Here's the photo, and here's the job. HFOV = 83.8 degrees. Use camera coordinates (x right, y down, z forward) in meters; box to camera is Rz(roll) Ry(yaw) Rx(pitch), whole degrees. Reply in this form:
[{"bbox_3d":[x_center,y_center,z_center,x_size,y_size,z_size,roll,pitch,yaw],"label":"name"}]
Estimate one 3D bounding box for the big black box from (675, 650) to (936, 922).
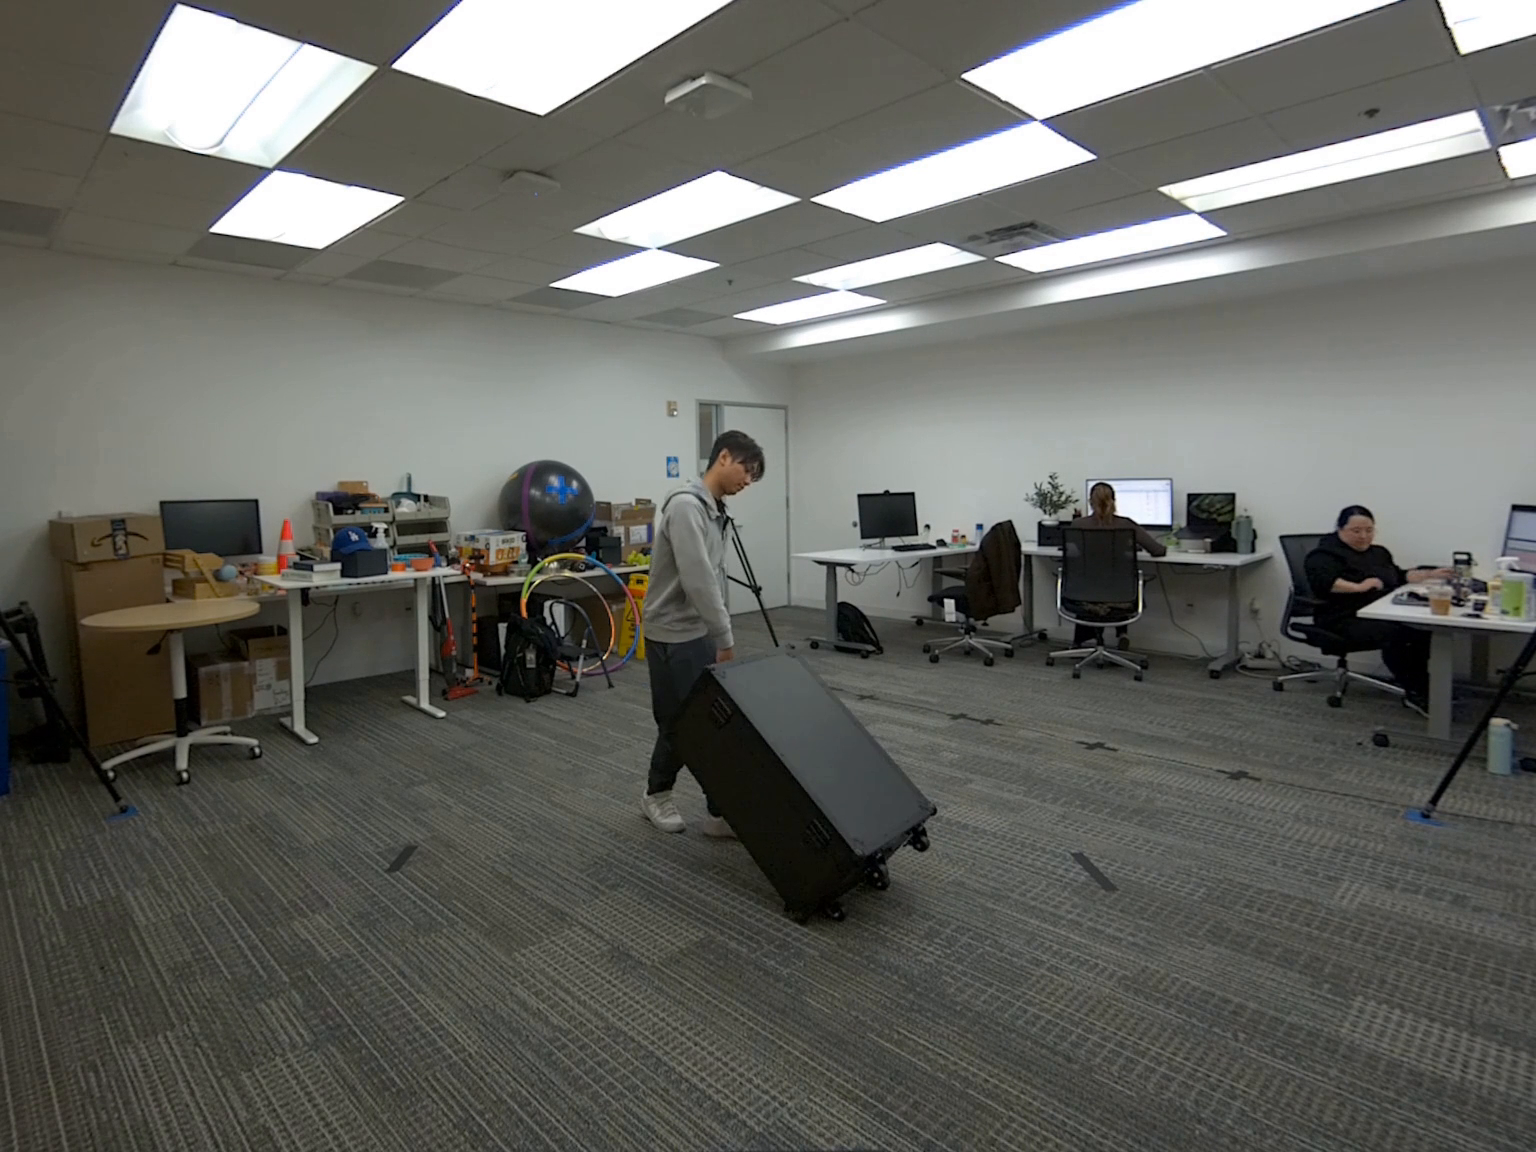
[{"bbox_3d":[0.177,0.692,2.881,0.508,0.393,0.890,-7,46,-48],"label":"big black box"}]
